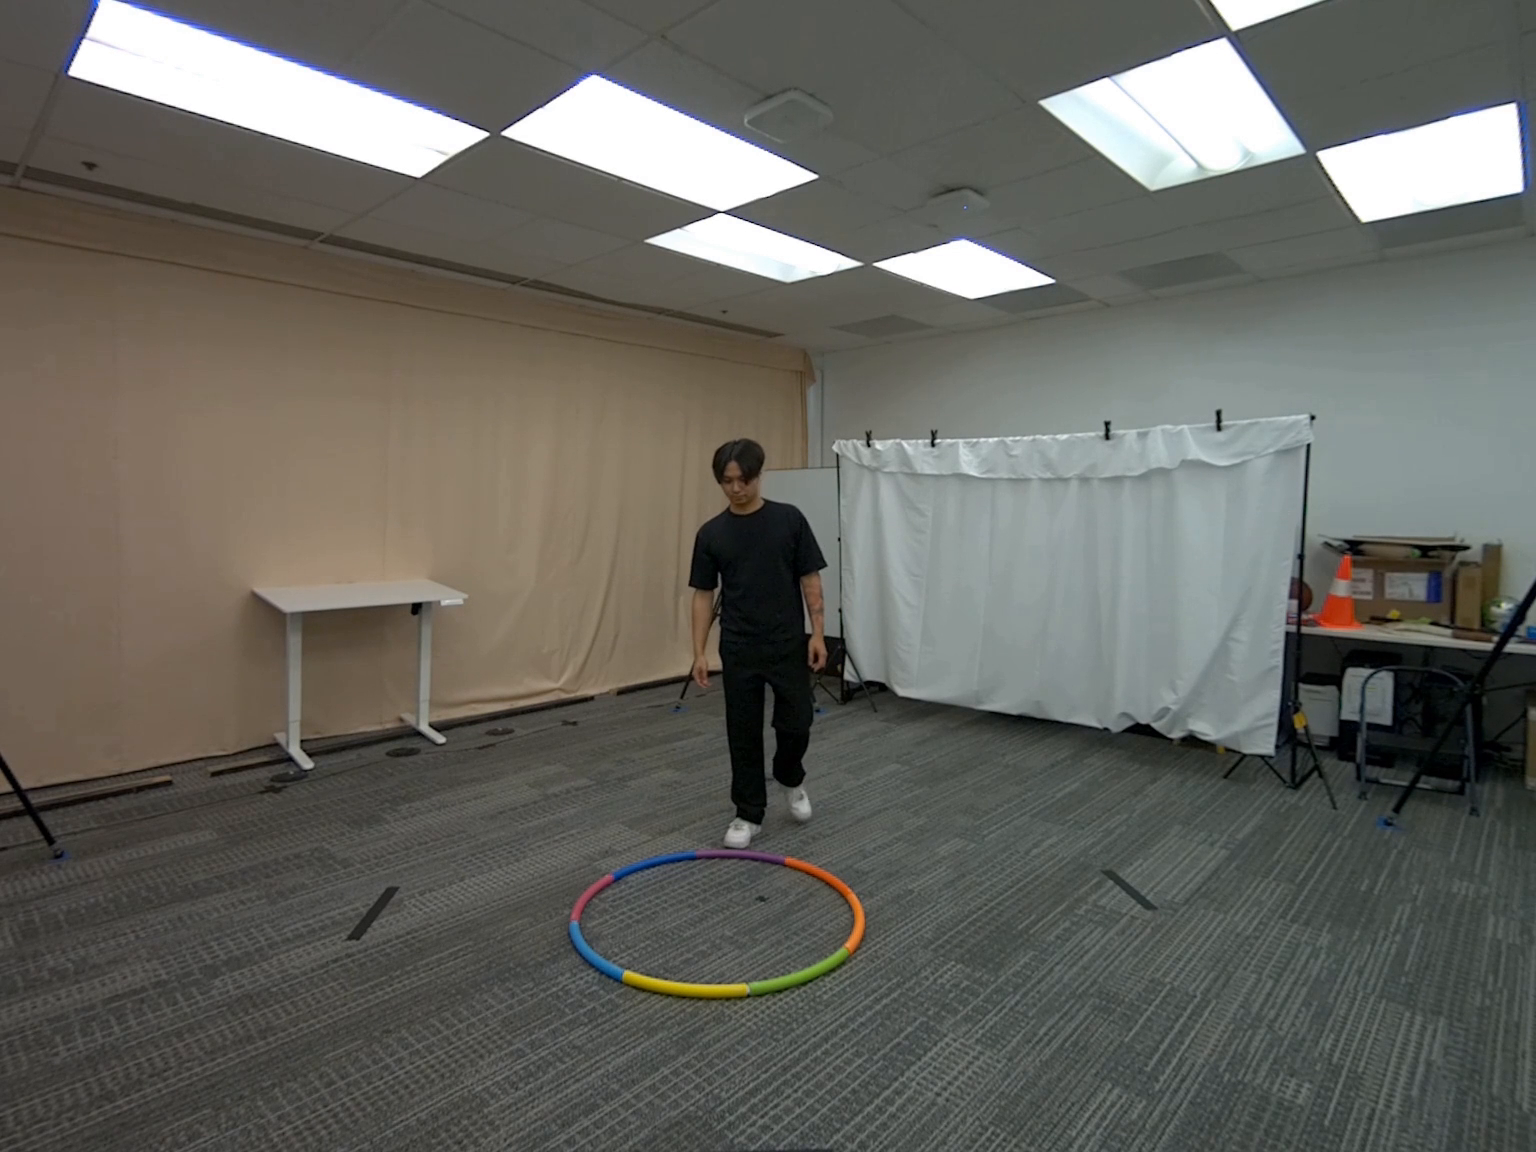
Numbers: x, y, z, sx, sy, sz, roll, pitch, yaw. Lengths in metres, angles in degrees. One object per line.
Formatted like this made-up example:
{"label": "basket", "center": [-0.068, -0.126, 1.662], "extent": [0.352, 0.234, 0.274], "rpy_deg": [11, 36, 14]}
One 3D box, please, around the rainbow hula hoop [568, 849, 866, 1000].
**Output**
{"label": "rainbow hula hoop", "center": [-0.170, 1.126, 2.859], "extent": [0.978, 0.035, 0.982], "rpy_deg": [-1, 4, -2]}
